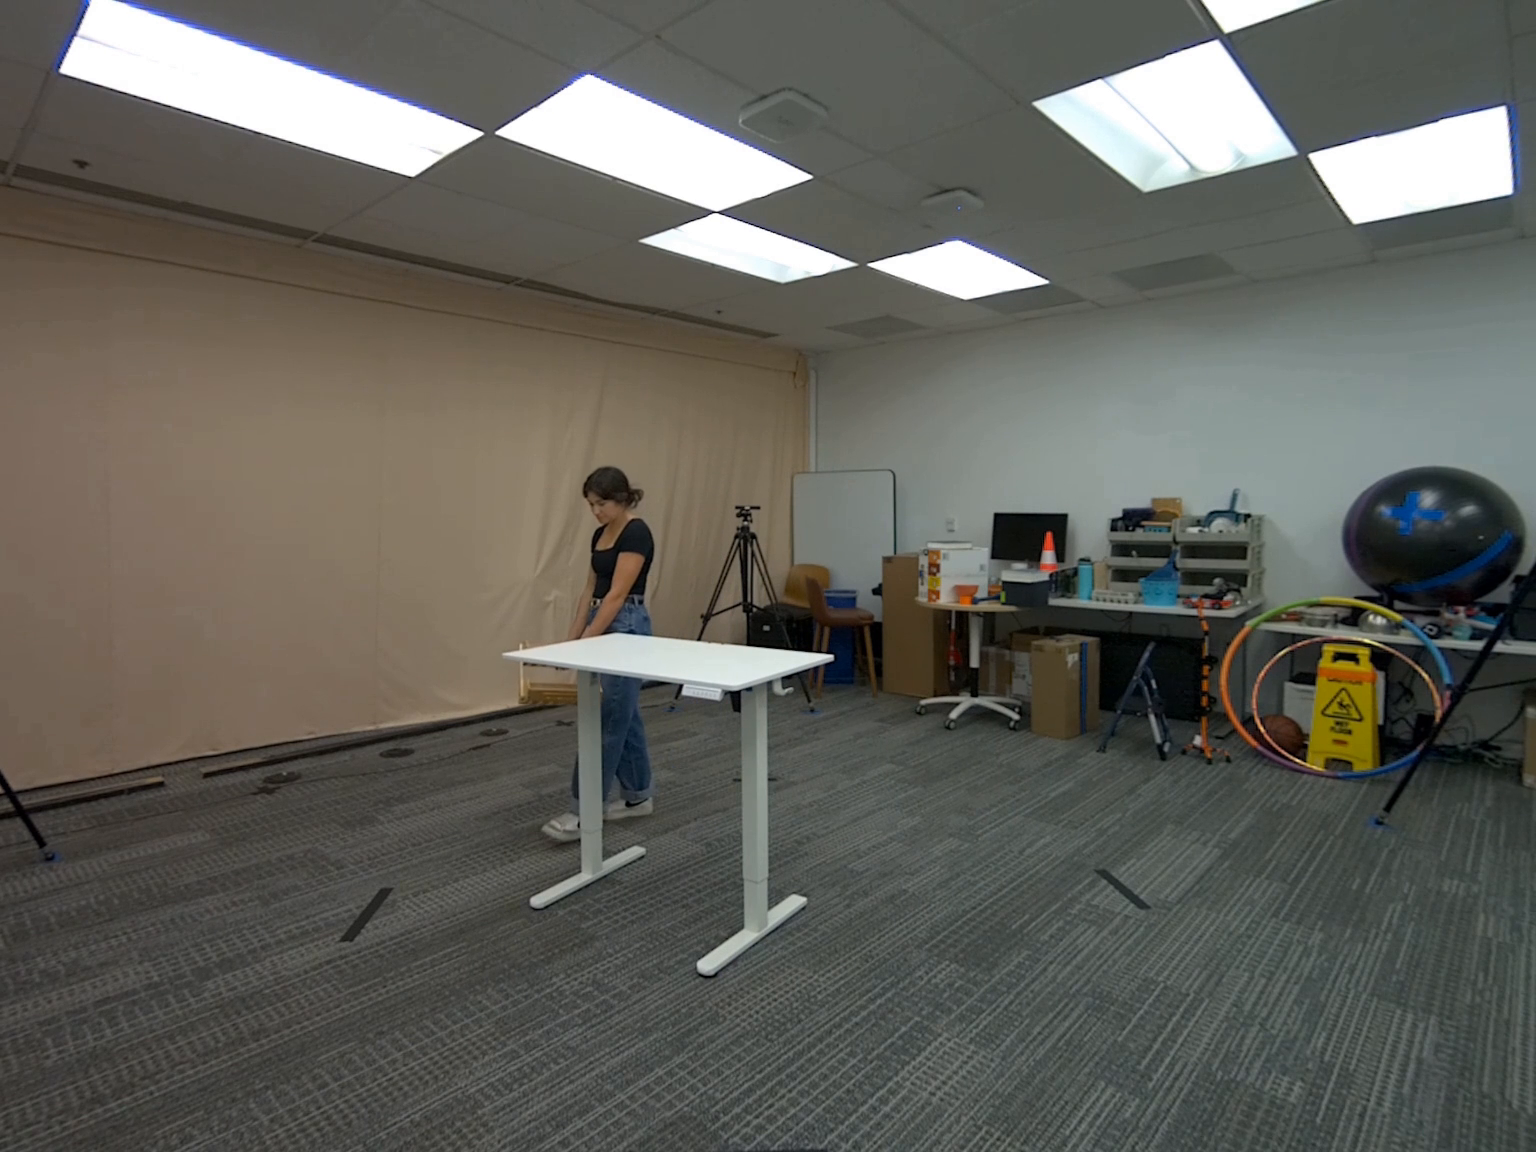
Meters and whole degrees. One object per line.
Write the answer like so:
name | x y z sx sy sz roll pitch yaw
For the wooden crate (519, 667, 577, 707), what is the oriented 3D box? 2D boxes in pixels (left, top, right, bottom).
wooden crate | -0.898 0.409 3.542 0.318 0.275 0.306 5 -14 -20
